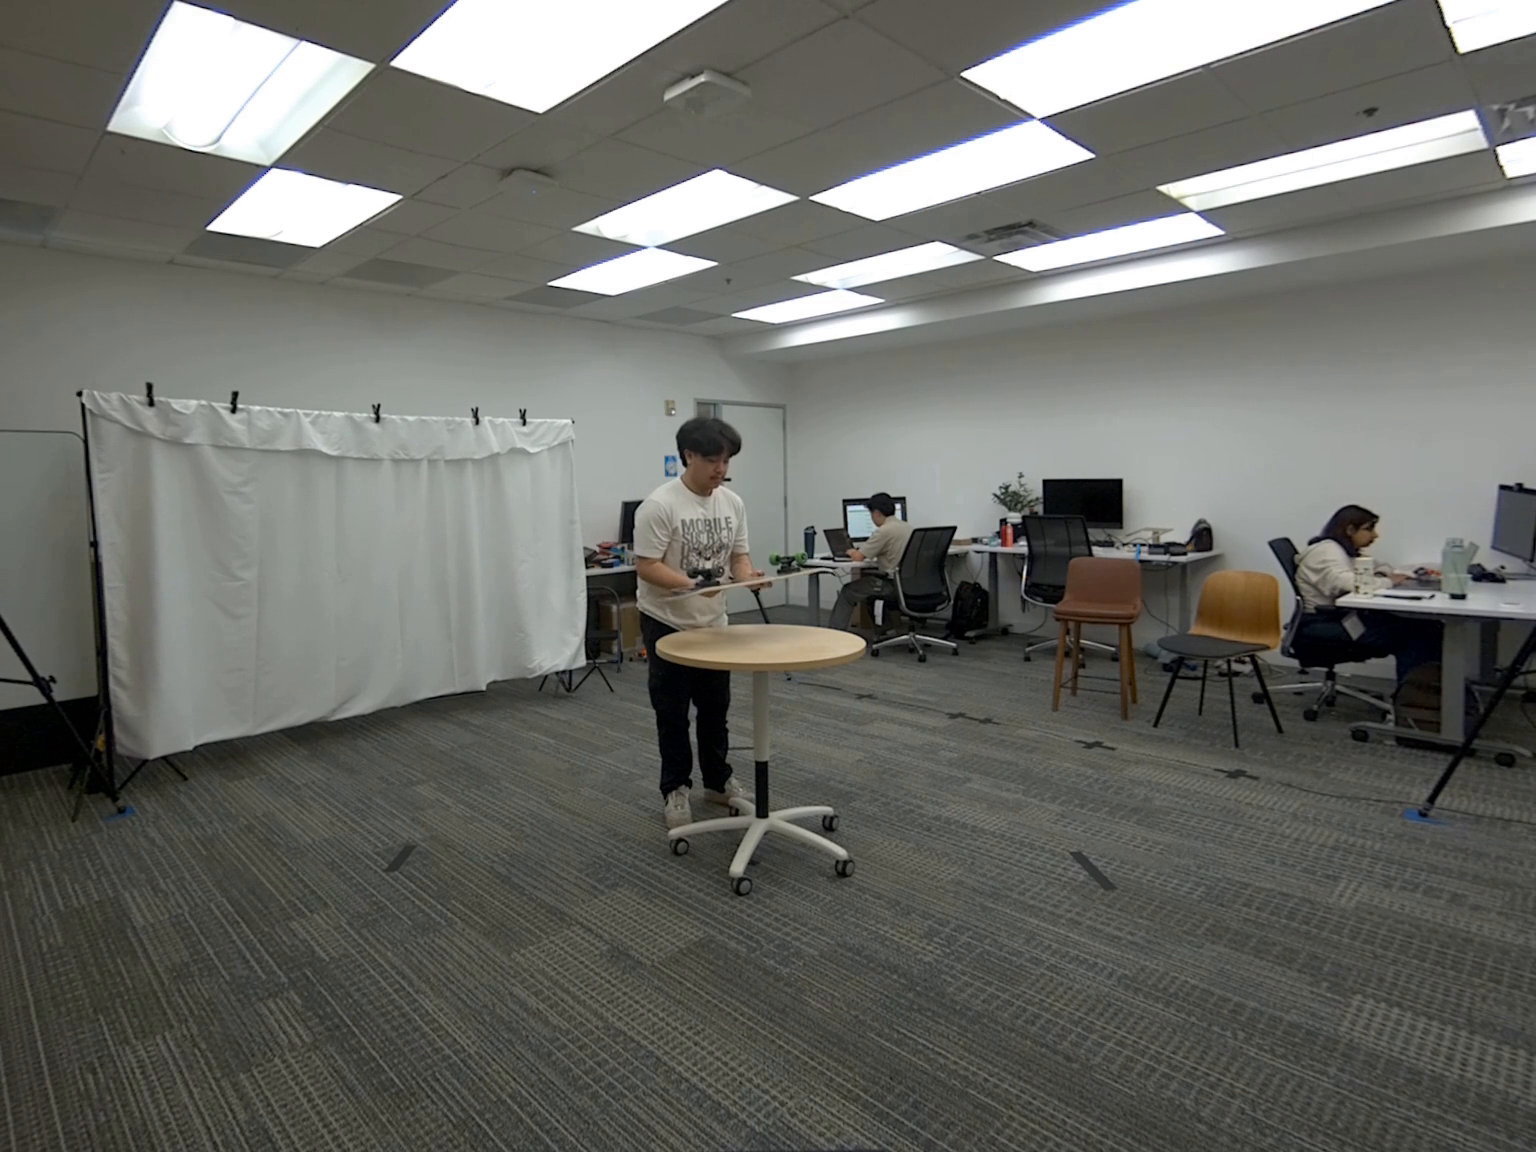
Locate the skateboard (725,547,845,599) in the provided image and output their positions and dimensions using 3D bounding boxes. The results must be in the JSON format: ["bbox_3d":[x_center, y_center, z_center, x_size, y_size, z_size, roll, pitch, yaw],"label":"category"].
[{"bbox_3d":[-0.073,-0.005,3.184,0.767,0.110,0.199,-10,6,-36],"label":"skateboard"}]
